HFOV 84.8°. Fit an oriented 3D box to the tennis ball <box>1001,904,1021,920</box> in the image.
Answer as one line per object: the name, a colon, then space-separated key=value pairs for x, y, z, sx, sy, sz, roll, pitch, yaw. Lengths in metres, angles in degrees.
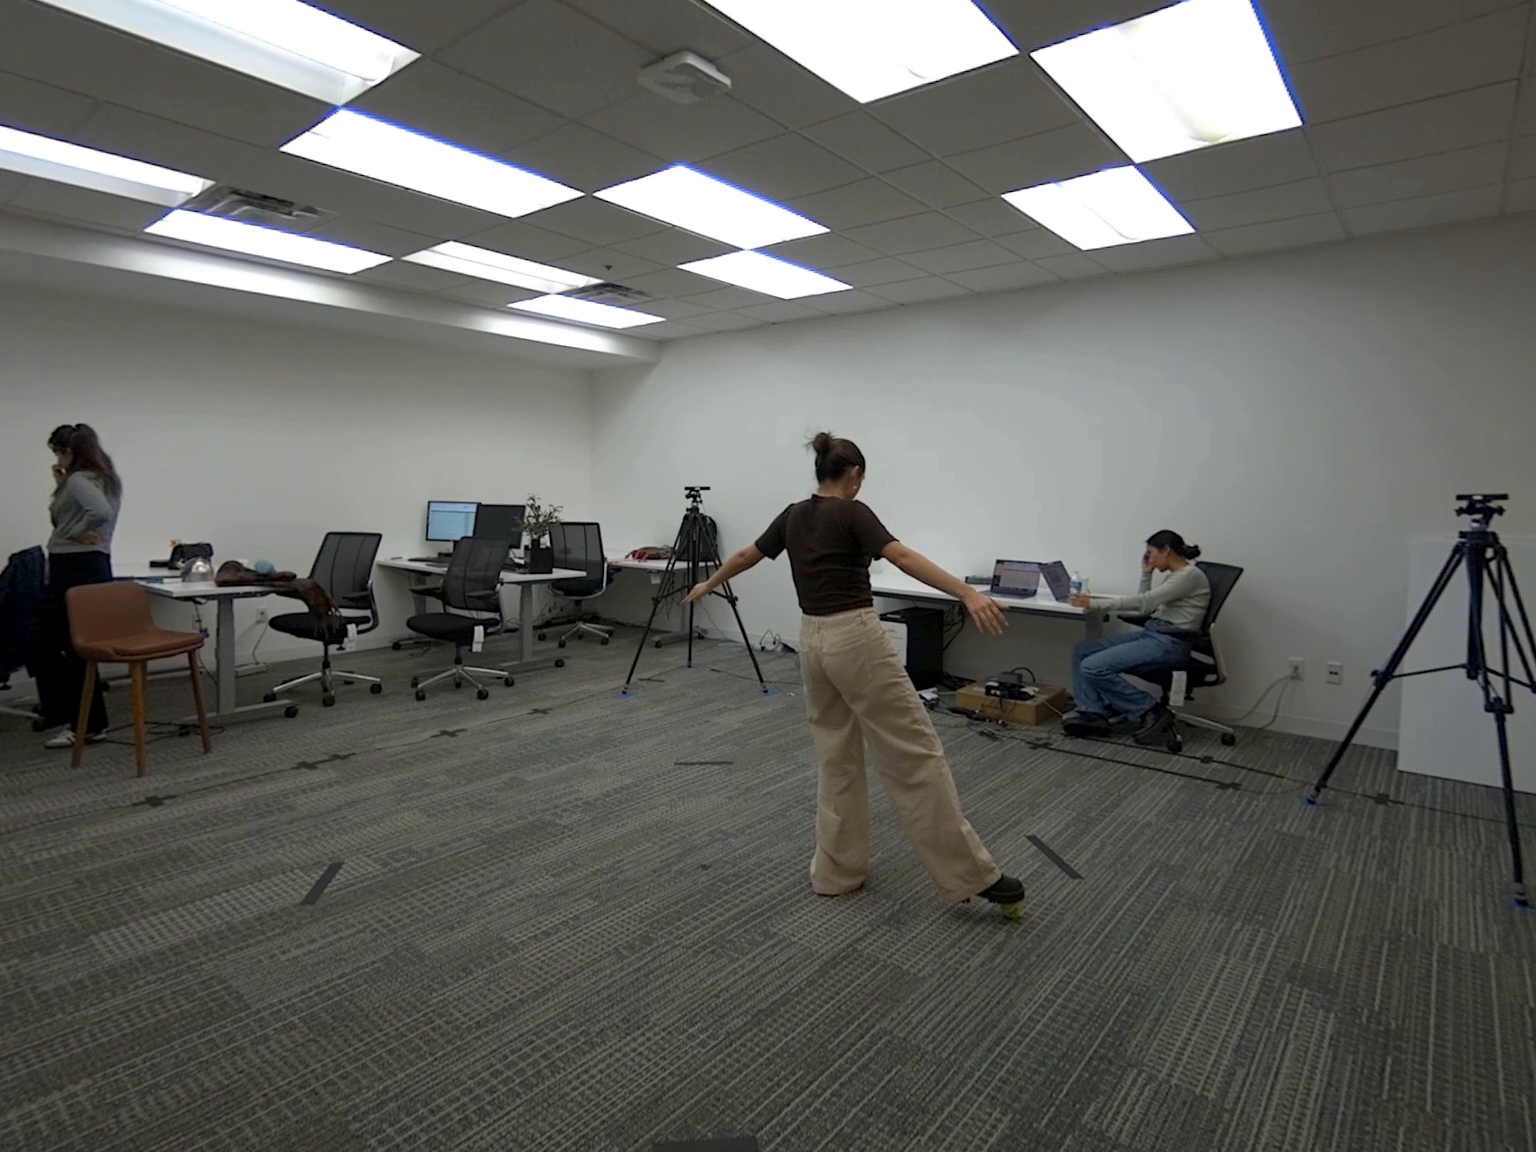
tennis ball: x=0.789 y=1.078 z=2.800 sx=0.066 sy=0.066 sz=0.067 roll=1 pitch=4 yaw=-2
